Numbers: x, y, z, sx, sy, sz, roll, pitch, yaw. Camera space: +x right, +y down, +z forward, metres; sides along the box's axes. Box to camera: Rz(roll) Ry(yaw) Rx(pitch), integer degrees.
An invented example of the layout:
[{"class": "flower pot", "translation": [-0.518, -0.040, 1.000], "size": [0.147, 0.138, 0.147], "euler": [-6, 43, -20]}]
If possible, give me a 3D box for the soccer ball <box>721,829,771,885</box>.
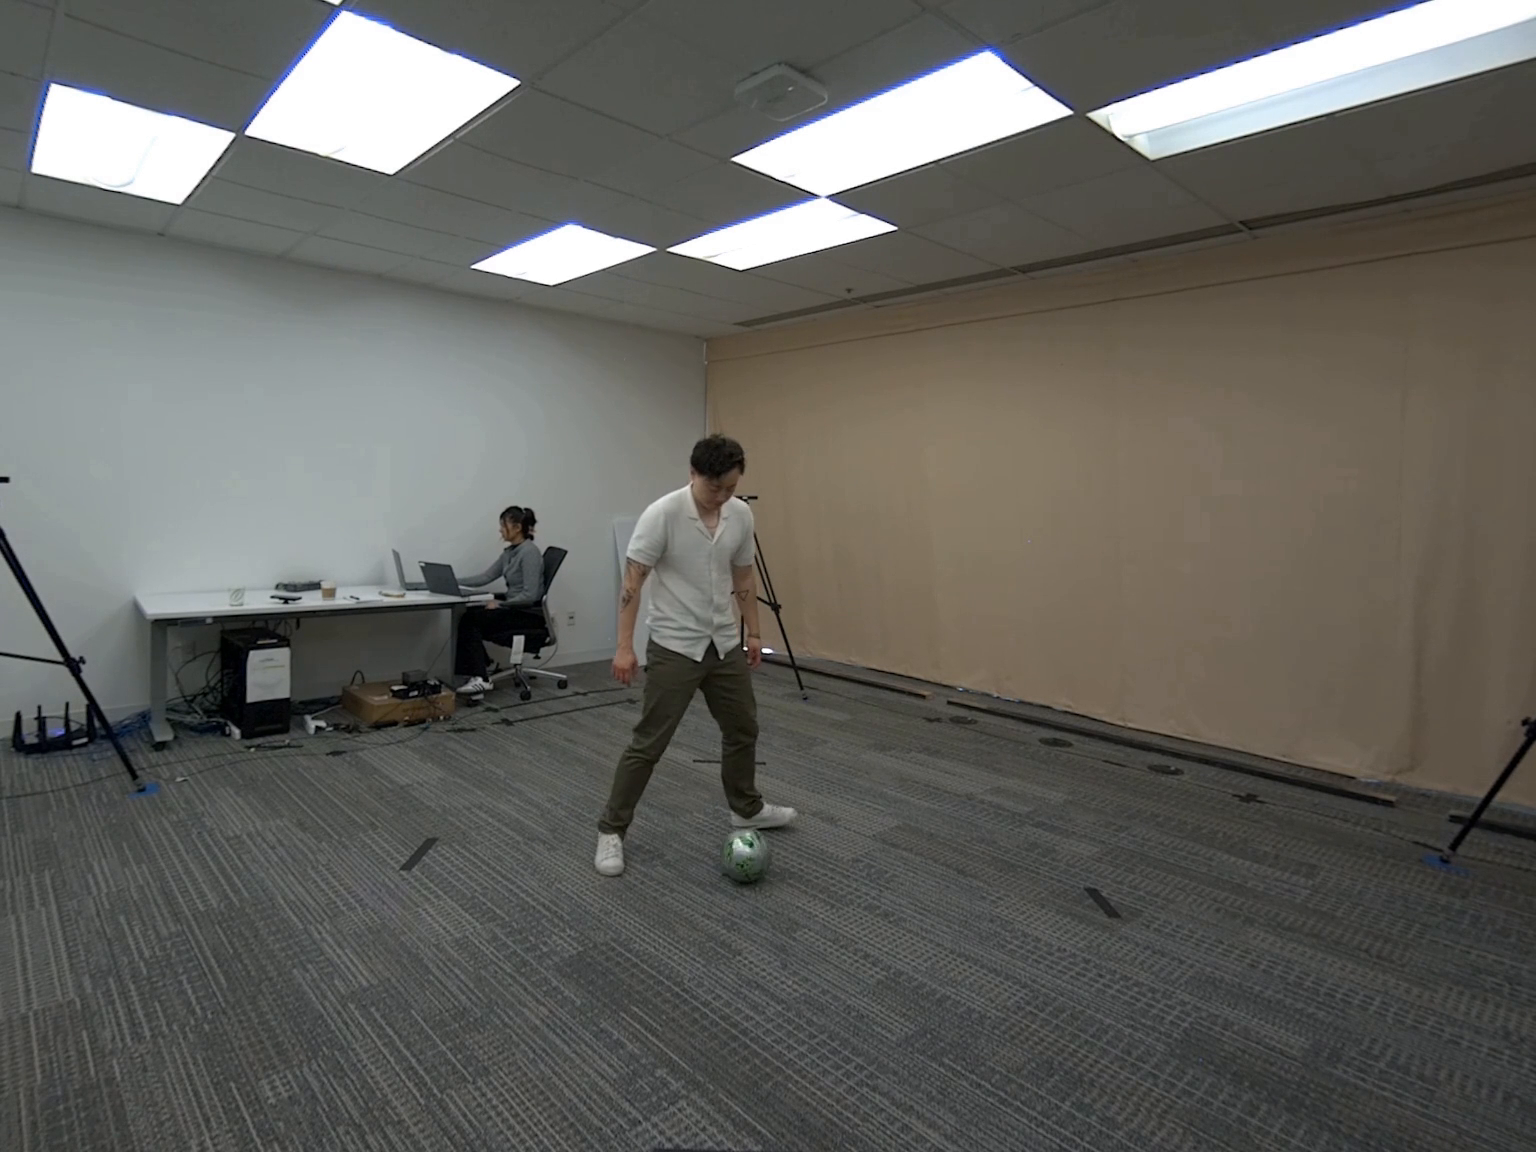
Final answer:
[{"class": "soccer ball", "translation": [-0.095, 1.012, 3.059], "size": [0.187, 0.187, 0.188], "euler": [1, 4, -1]}]
